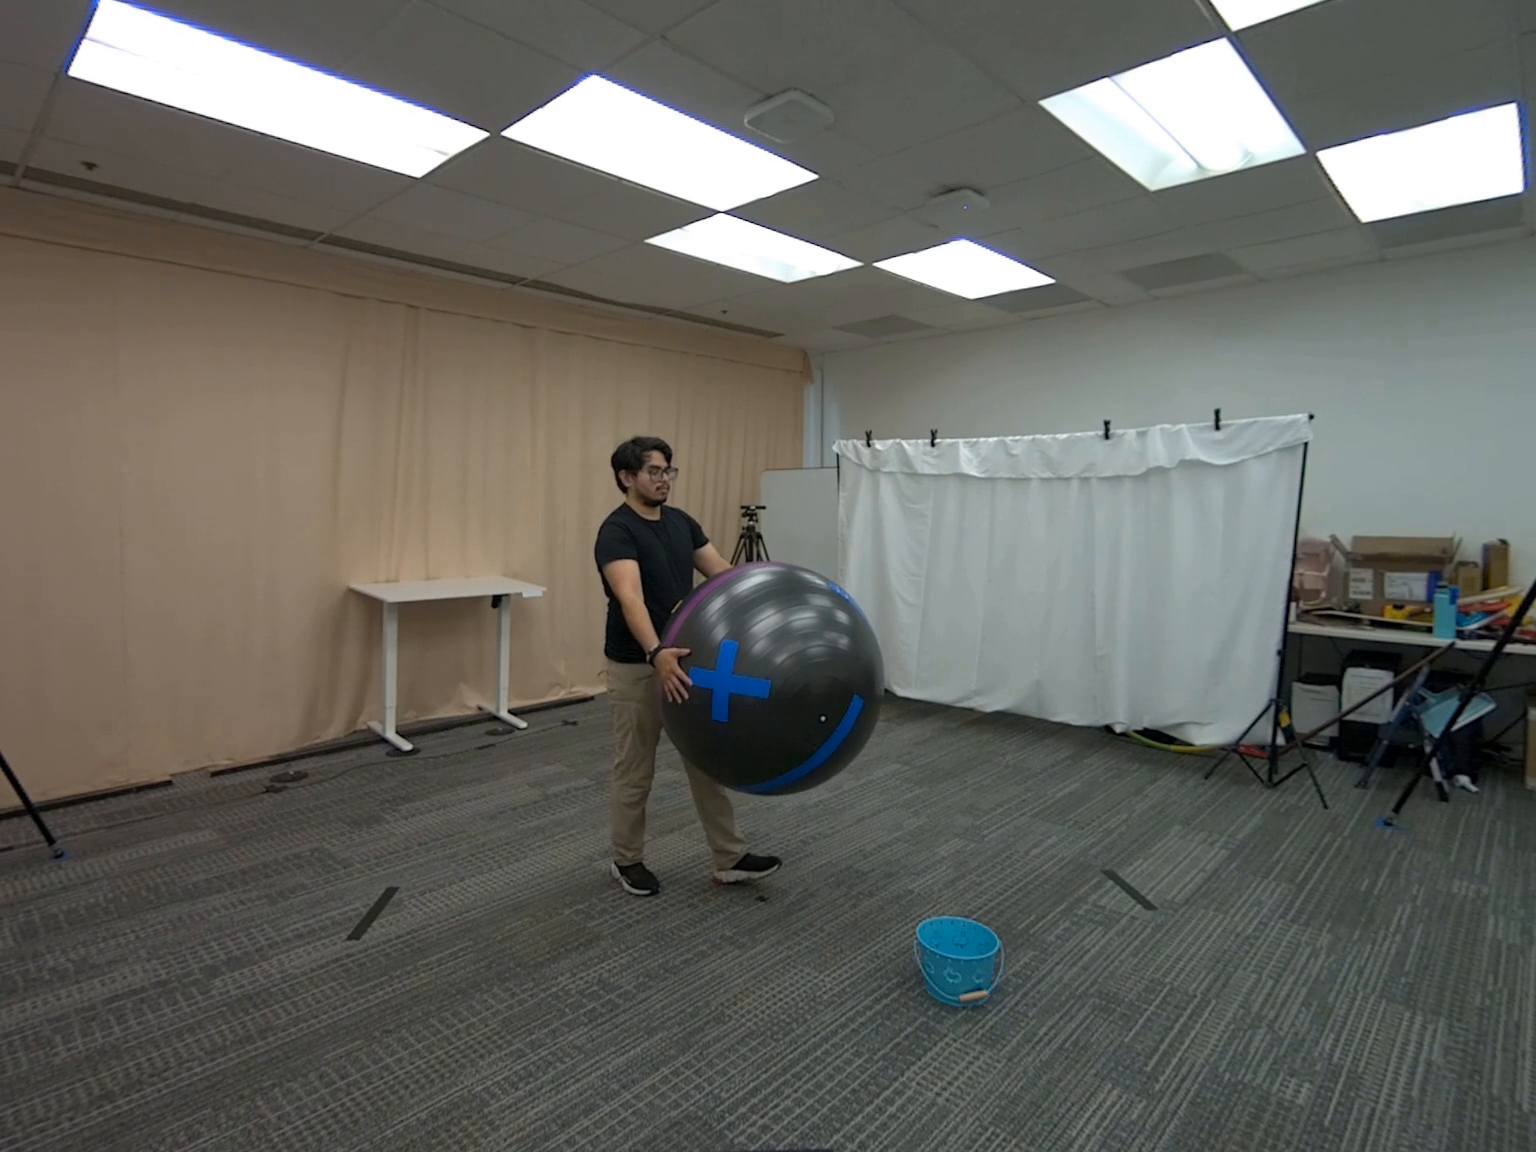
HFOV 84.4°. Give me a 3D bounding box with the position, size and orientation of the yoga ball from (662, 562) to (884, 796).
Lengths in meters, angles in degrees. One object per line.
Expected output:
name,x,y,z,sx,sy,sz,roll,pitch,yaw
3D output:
yoga ball,0.009,0.336,2.775,0.757,0.756,0.760,0,4,-2
